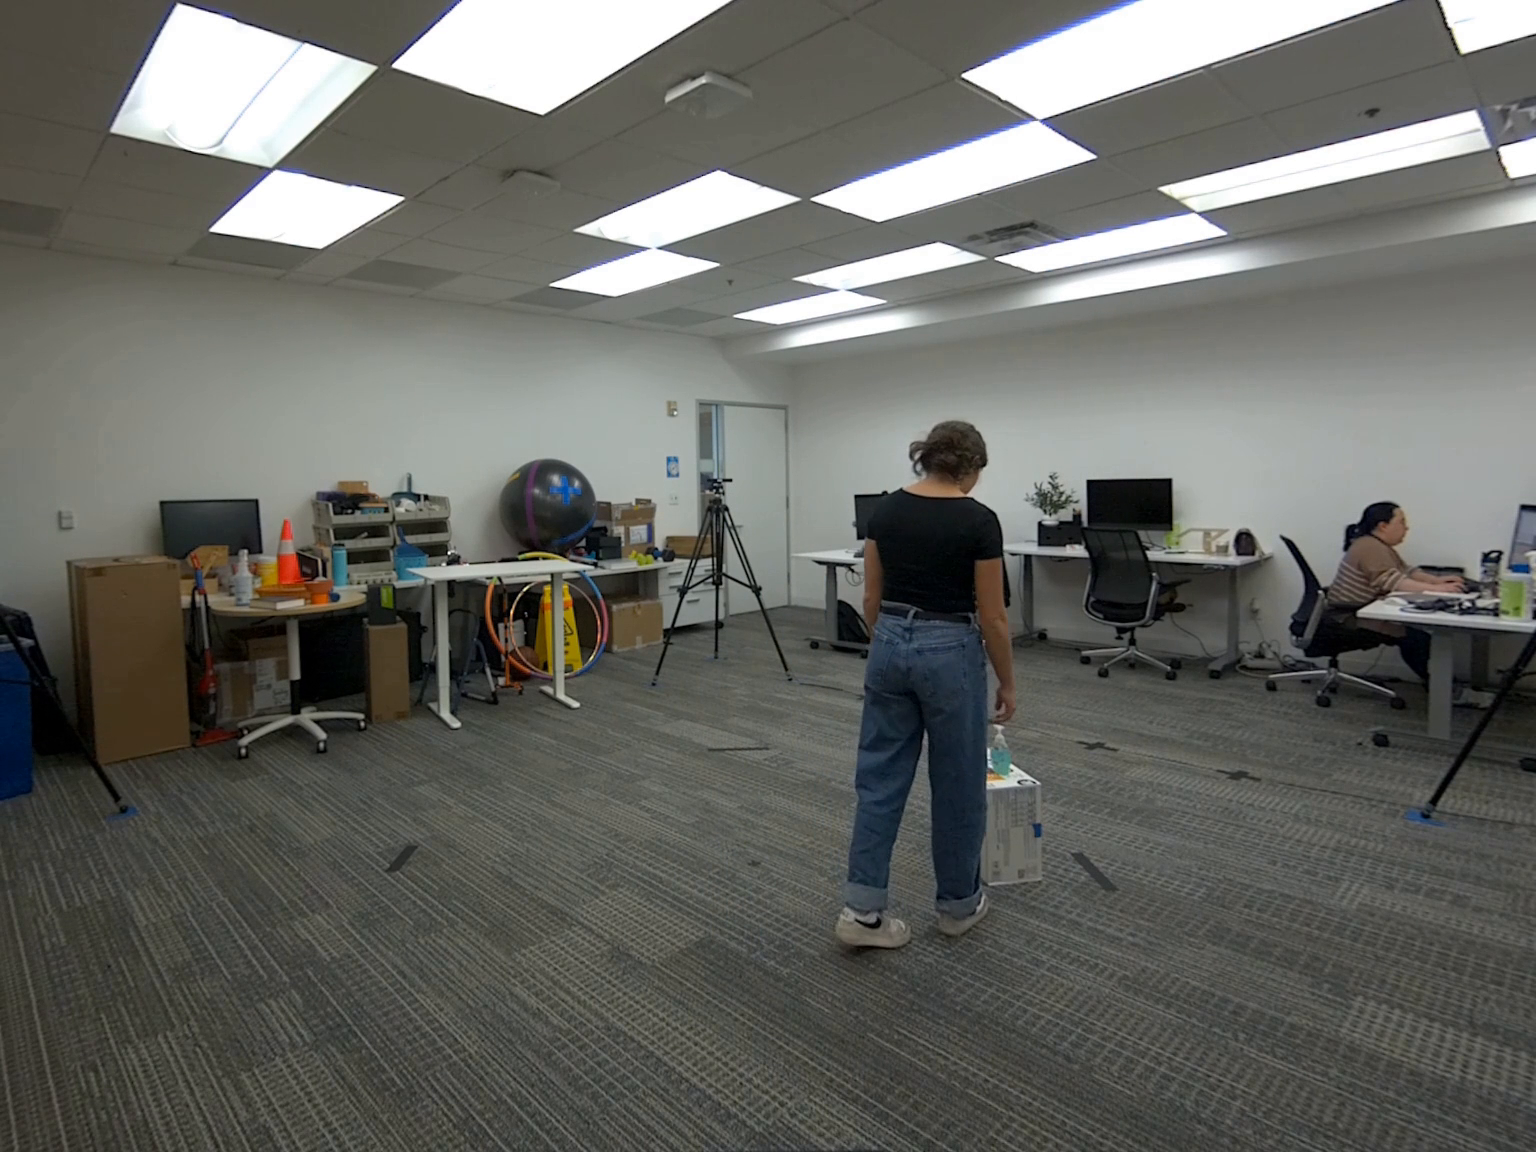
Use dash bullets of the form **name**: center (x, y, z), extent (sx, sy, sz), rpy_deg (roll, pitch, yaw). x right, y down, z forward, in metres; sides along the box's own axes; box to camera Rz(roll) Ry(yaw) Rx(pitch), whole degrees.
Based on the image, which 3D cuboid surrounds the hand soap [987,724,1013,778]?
- **hand soap**: center (0.834, 0.617, 3.040), extent (0.042, 0.167, 0.086), rpy_deg (-6, 5, -23)
